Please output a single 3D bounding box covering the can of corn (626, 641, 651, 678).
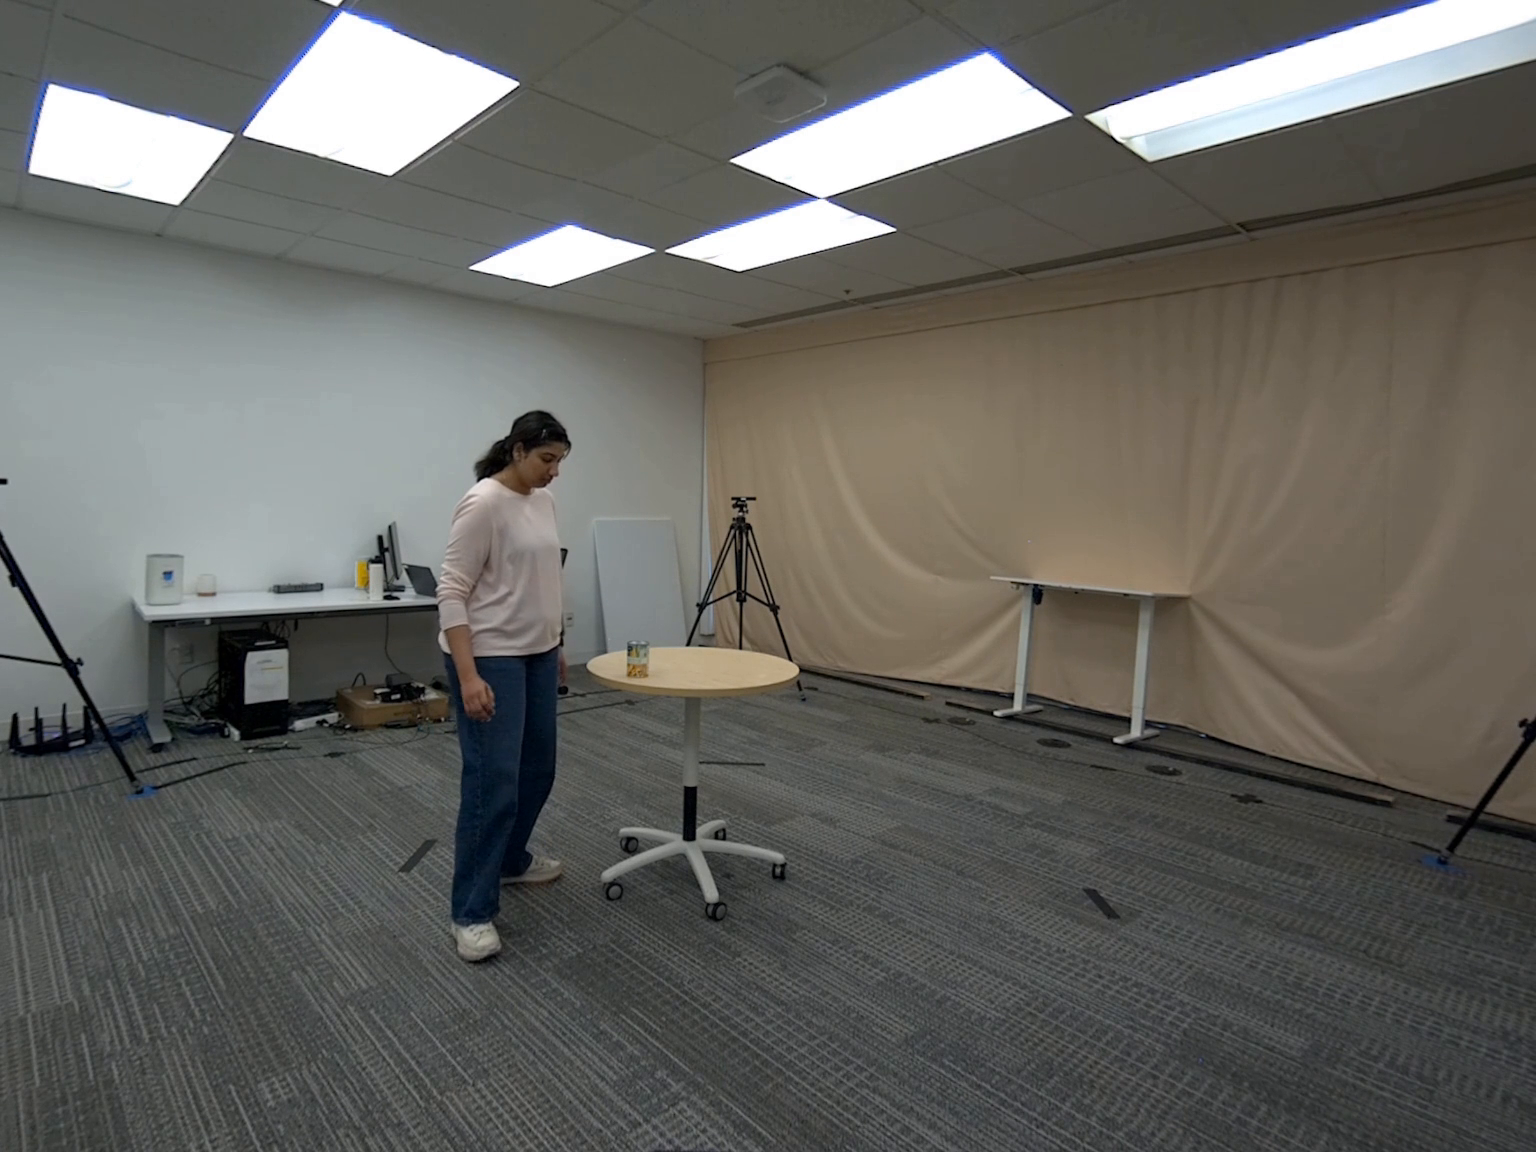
[{"bbox_3d":[-0.444,0.281,2.829,0.074,0.111,0.074,2,2,-1],"label":"can of corn"}]
